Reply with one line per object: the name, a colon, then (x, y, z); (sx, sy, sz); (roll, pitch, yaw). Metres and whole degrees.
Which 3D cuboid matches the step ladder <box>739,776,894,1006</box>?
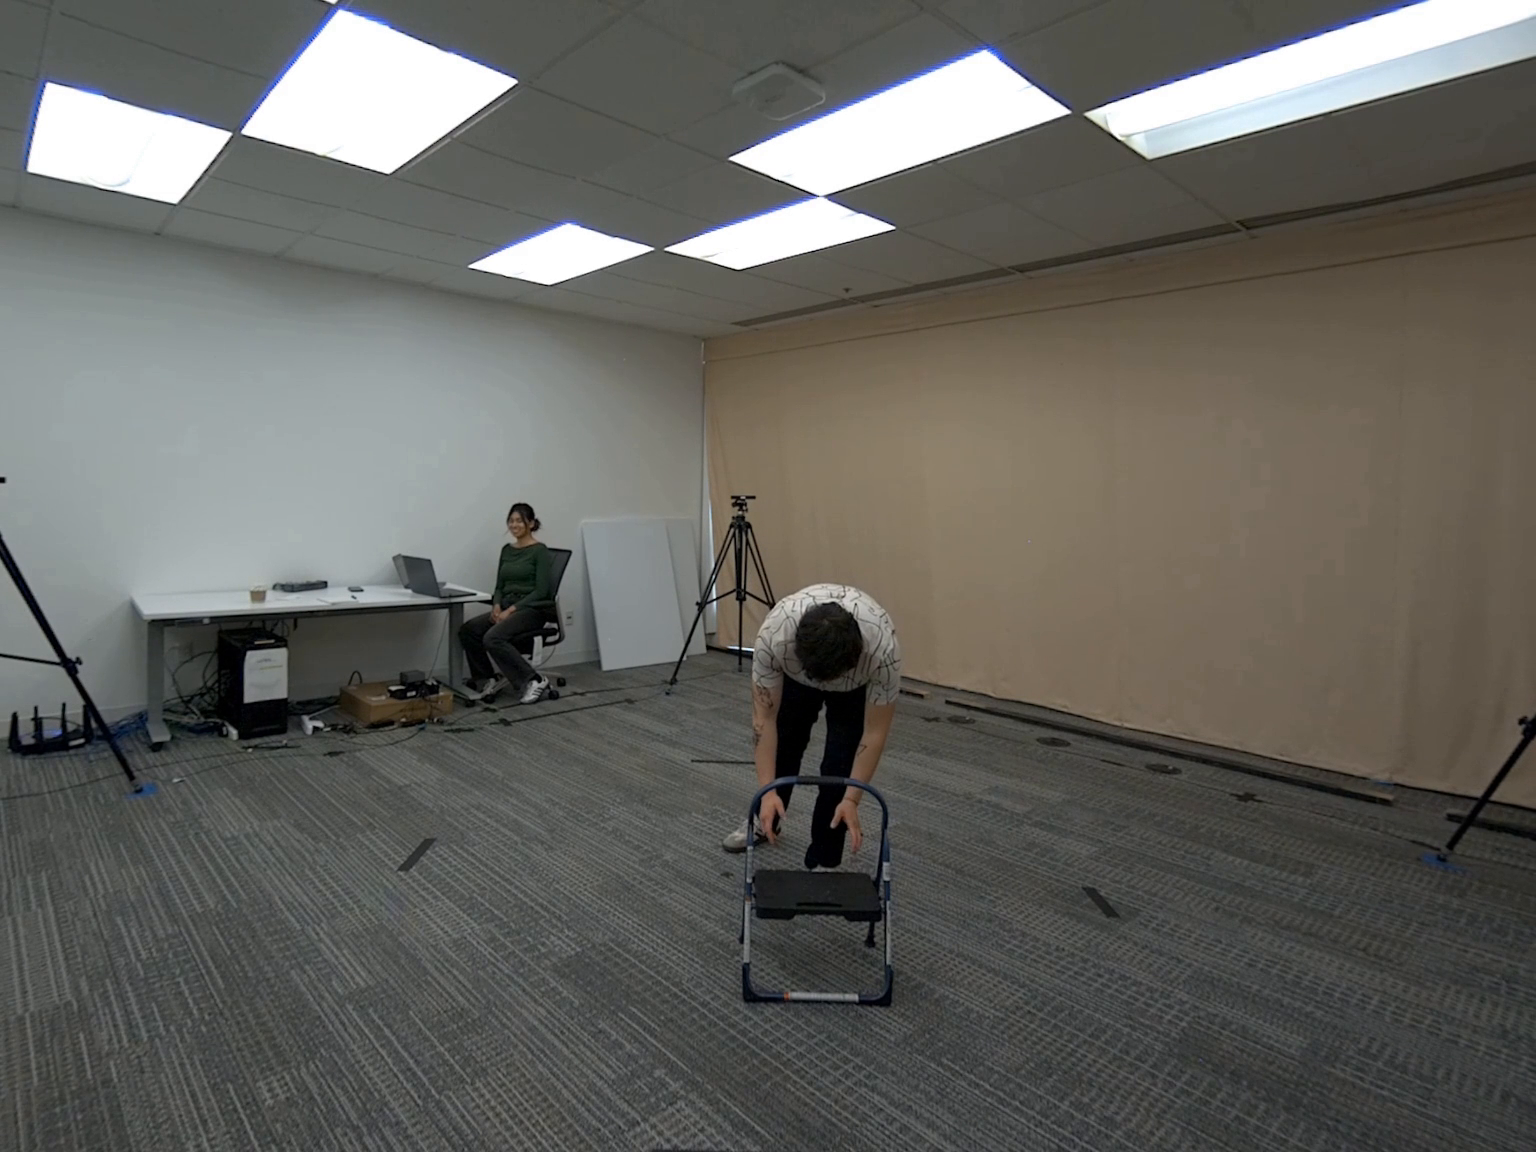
step ladder: (0.132, 0.867, 2.464); (0.430, 0.605, 0.350); (1, 3, -2)
